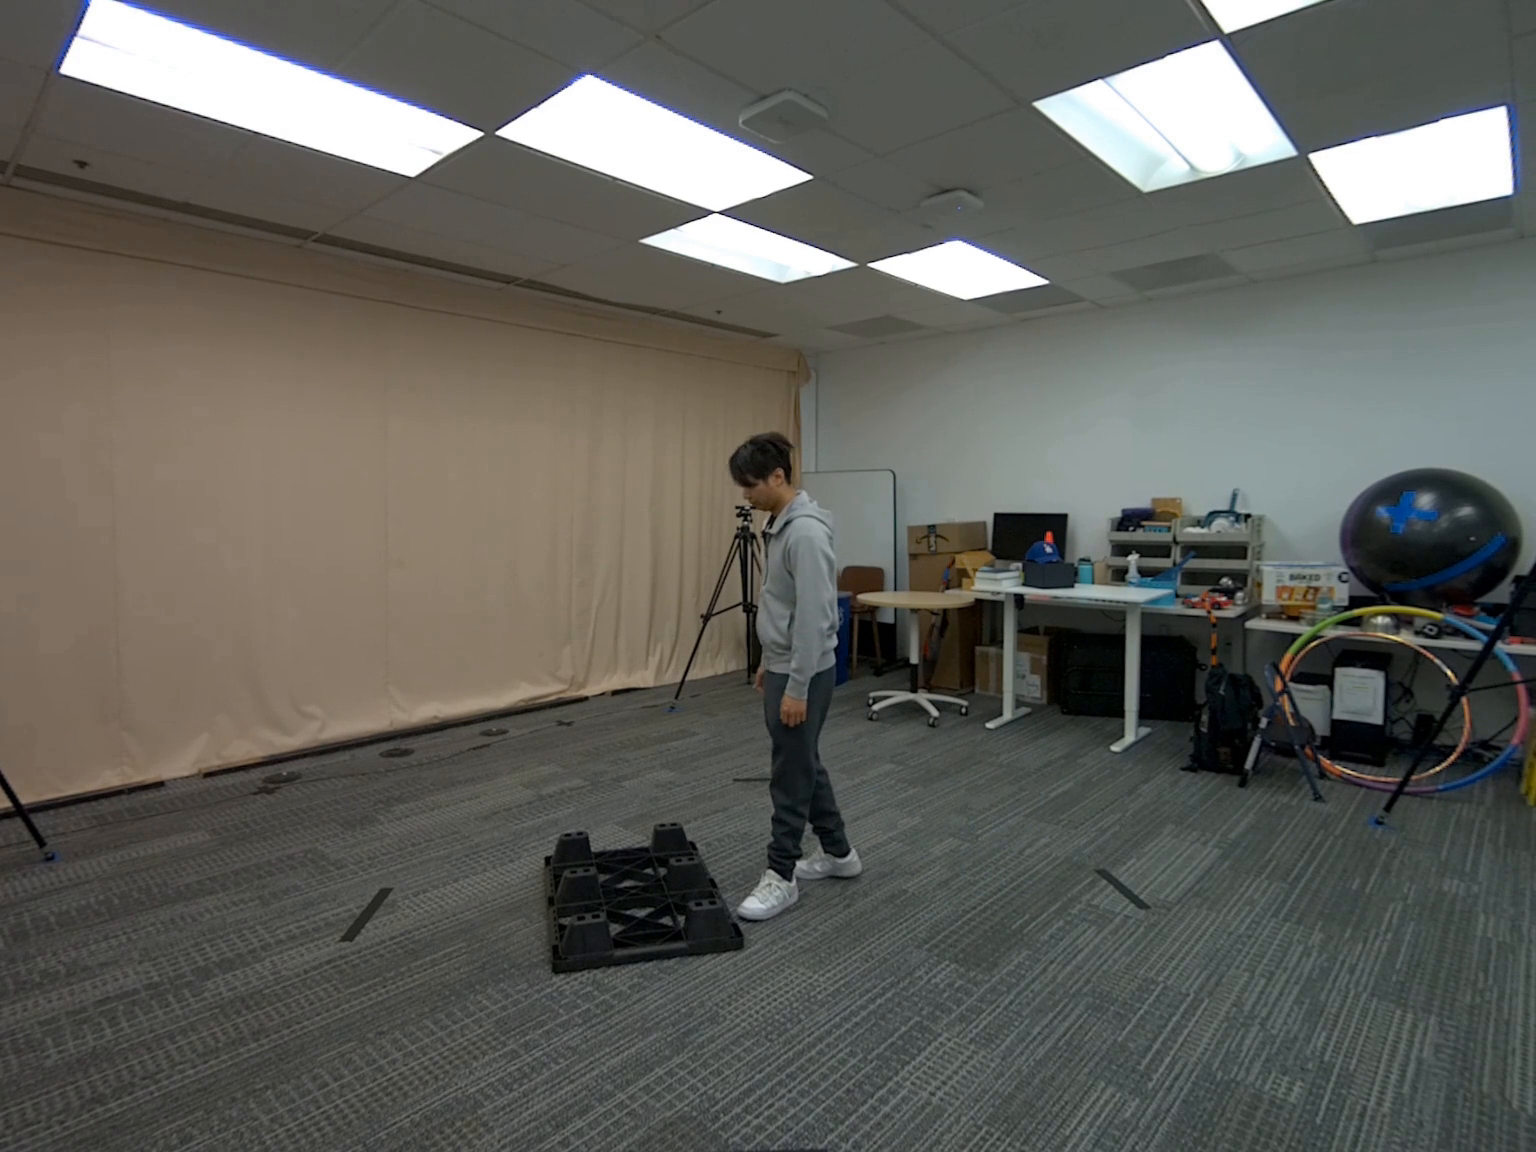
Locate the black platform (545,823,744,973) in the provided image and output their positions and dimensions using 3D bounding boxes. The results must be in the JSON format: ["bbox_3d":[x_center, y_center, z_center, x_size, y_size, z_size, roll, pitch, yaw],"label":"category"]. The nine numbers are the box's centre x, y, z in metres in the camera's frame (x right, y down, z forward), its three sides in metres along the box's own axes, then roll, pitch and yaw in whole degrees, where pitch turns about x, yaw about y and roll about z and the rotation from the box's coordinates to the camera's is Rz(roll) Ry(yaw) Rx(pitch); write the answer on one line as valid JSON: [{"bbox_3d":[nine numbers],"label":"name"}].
[{"bbox_3d":[-0.466,1.083,2.954,0.596,0.143,0.821,-2,5,-16],"label":"black platform"}]
